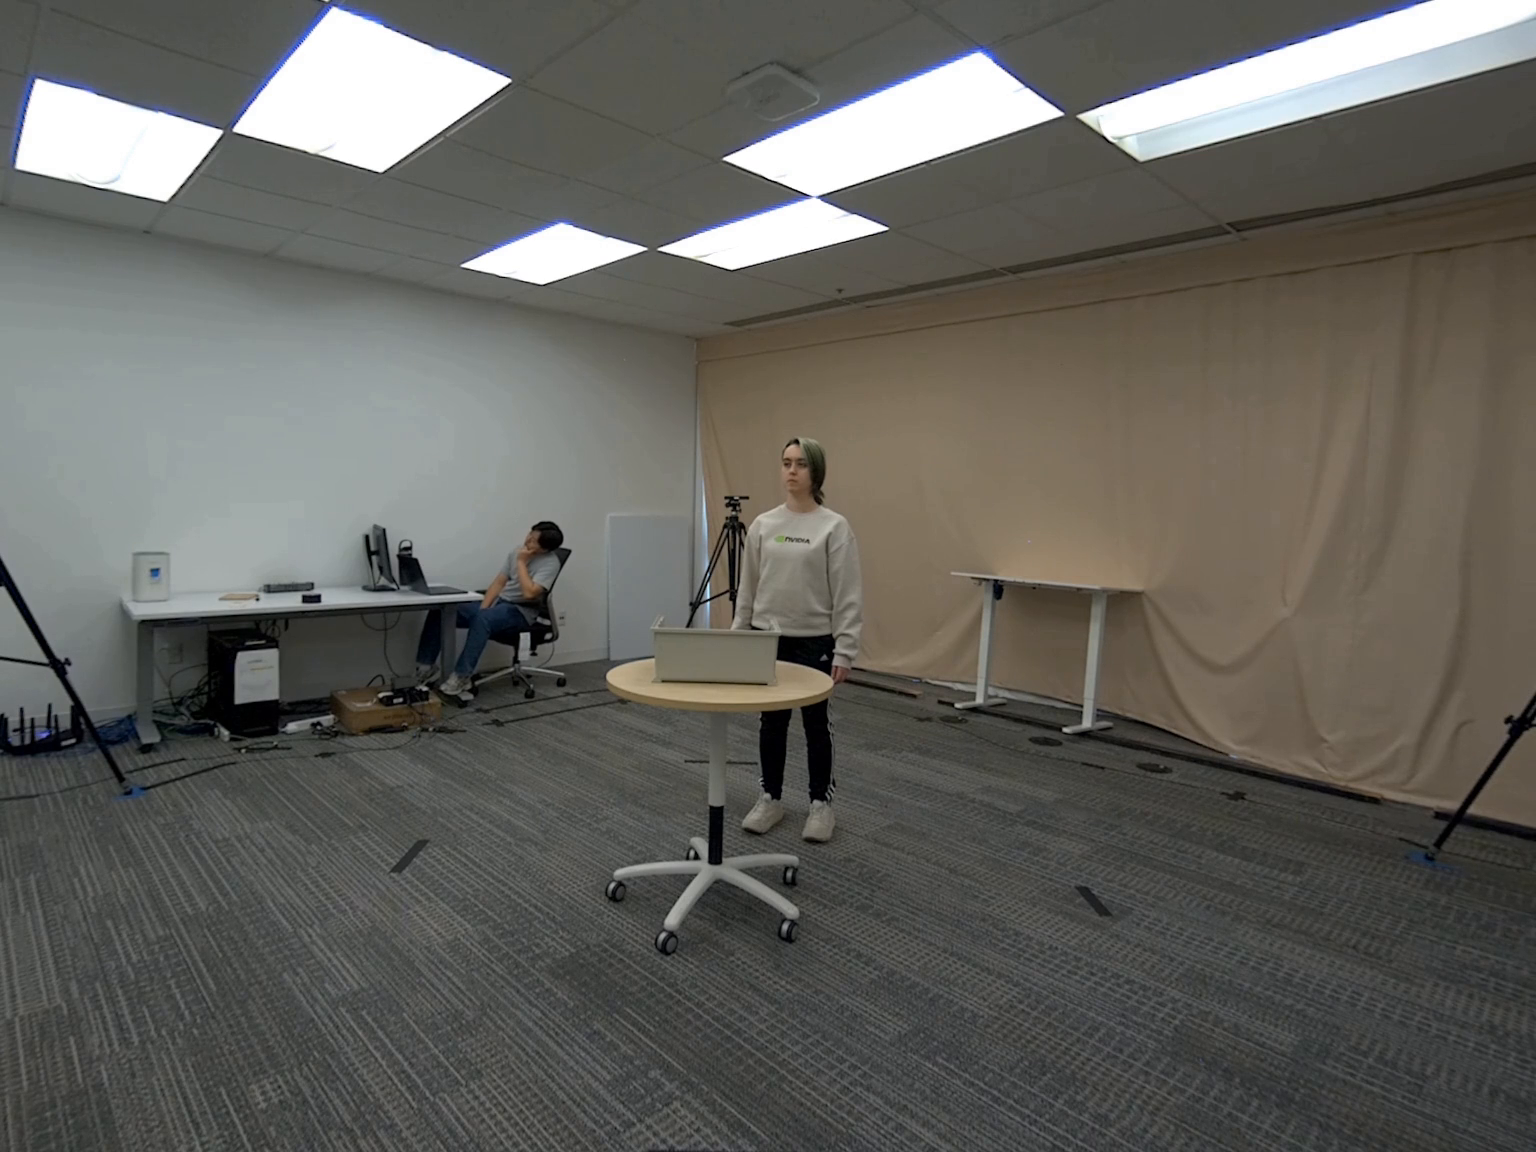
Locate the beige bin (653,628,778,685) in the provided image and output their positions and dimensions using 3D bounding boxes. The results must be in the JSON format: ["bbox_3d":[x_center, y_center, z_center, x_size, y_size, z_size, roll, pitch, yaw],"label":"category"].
[{"bbox_3d":[-0.183,0.261,2.903,0.422,0.189,0.378,2,1,-2],"label":"beige bin"}]
